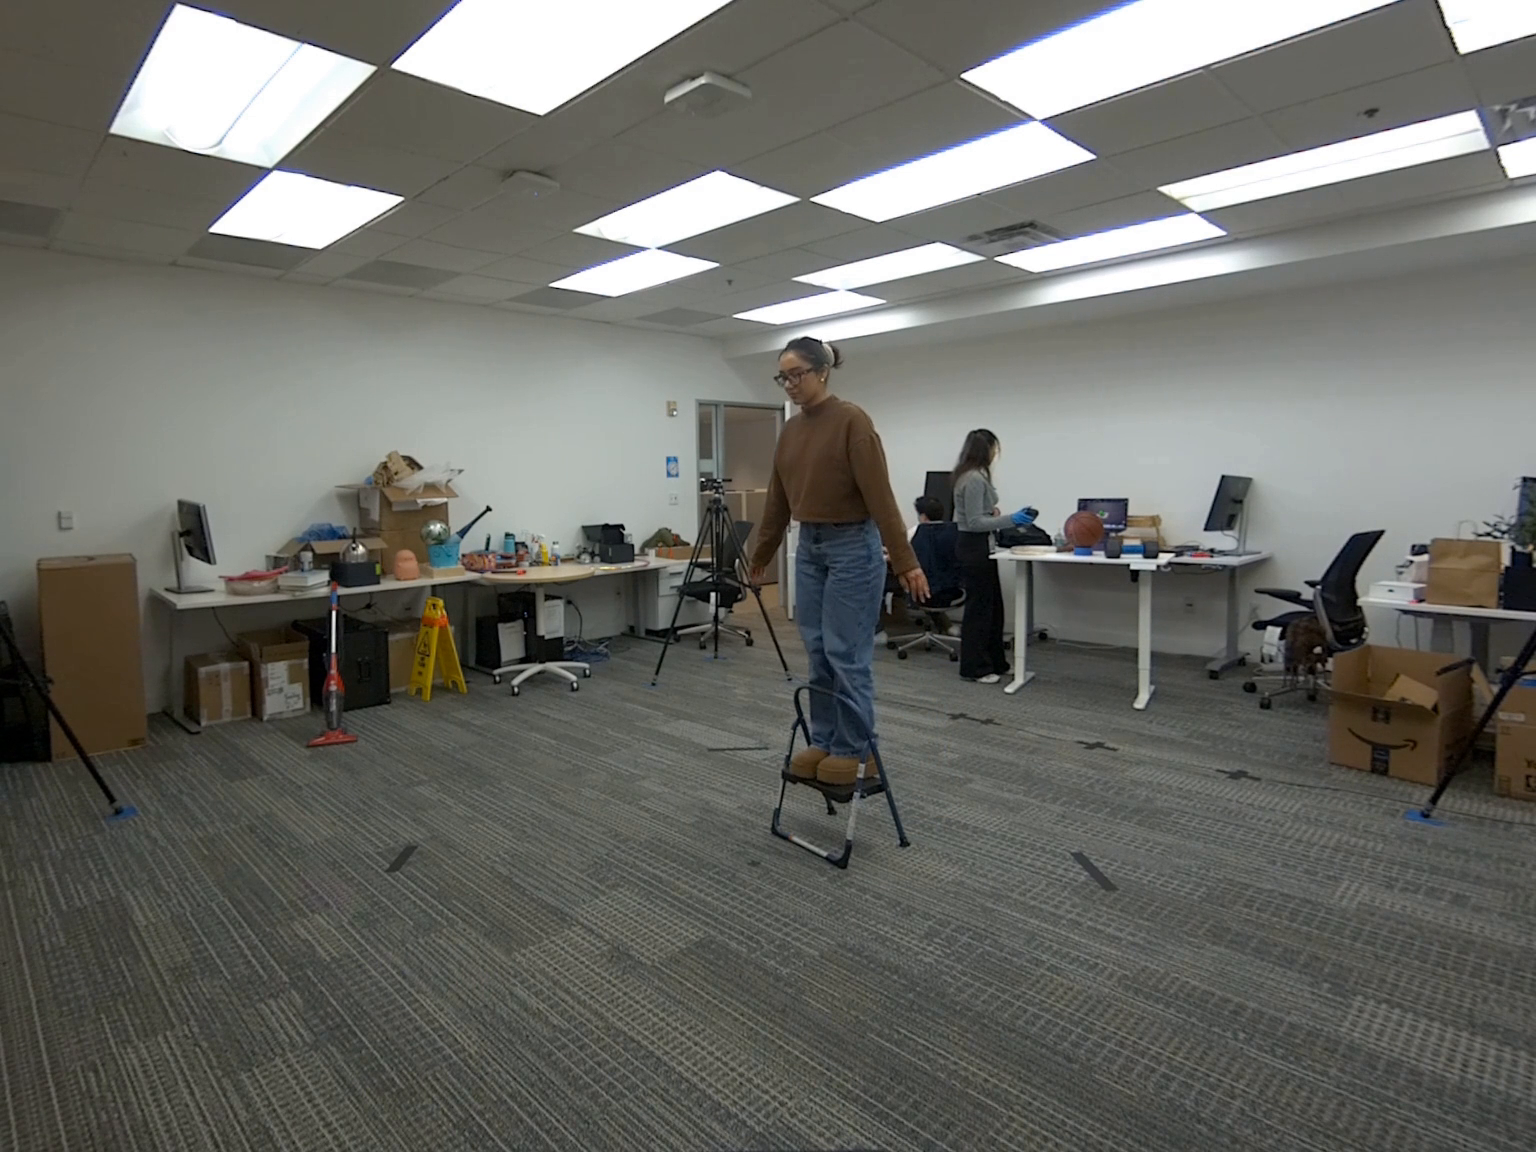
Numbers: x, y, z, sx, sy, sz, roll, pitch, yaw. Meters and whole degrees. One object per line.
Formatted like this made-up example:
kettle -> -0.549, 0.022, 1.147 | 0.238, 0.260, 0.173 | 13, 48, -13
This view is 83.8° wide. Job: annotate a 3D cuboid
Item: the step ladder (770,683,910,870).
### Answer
step ladder -> 0.267, 0.717, 3.286 | 0.340, 0.604, 0.444 | -5, 6, -39
